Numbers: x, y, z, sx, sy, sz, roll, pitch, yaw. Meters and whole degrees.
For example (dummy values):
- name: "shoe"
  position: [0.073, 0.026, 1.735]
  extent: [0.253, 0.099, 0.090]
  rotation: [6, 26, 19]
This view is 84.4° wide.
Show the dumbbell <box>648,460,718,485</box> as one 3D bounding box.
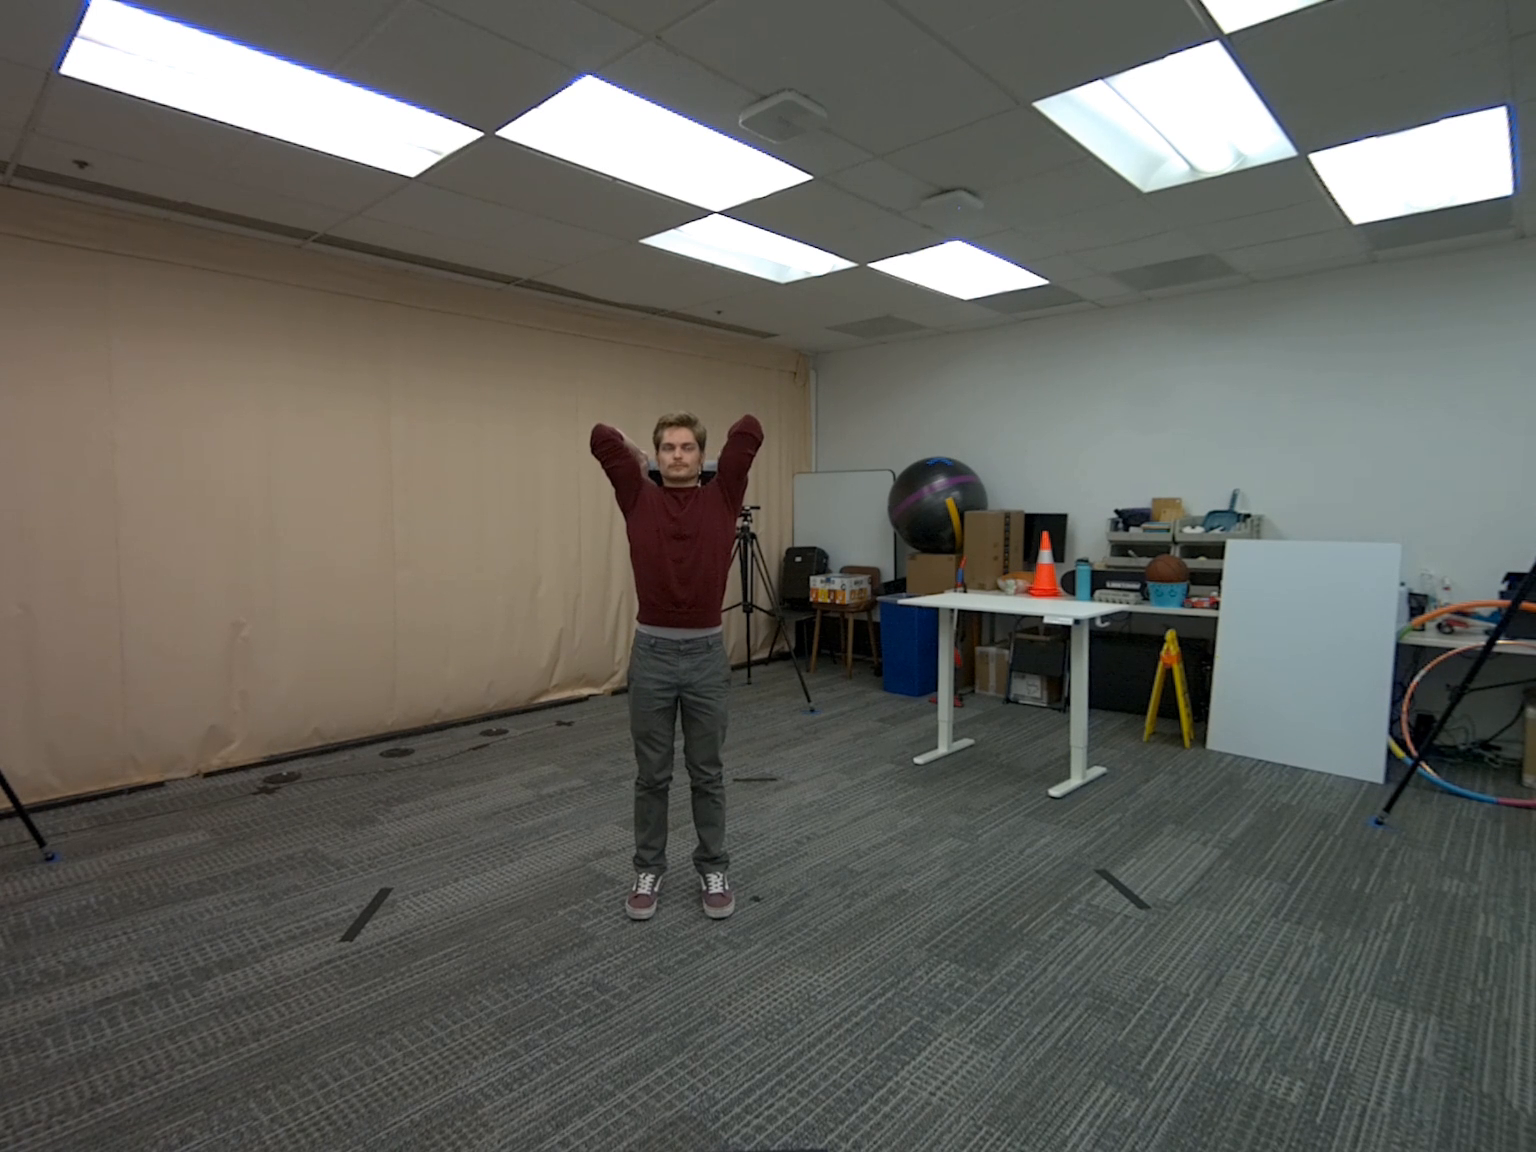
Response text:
- name: "dumbbell"
  position: [-0.326, -0.402, 3.150]
  extent: [0.294, 0.121, 0.109]
  rotation: [2, 21, 3]
